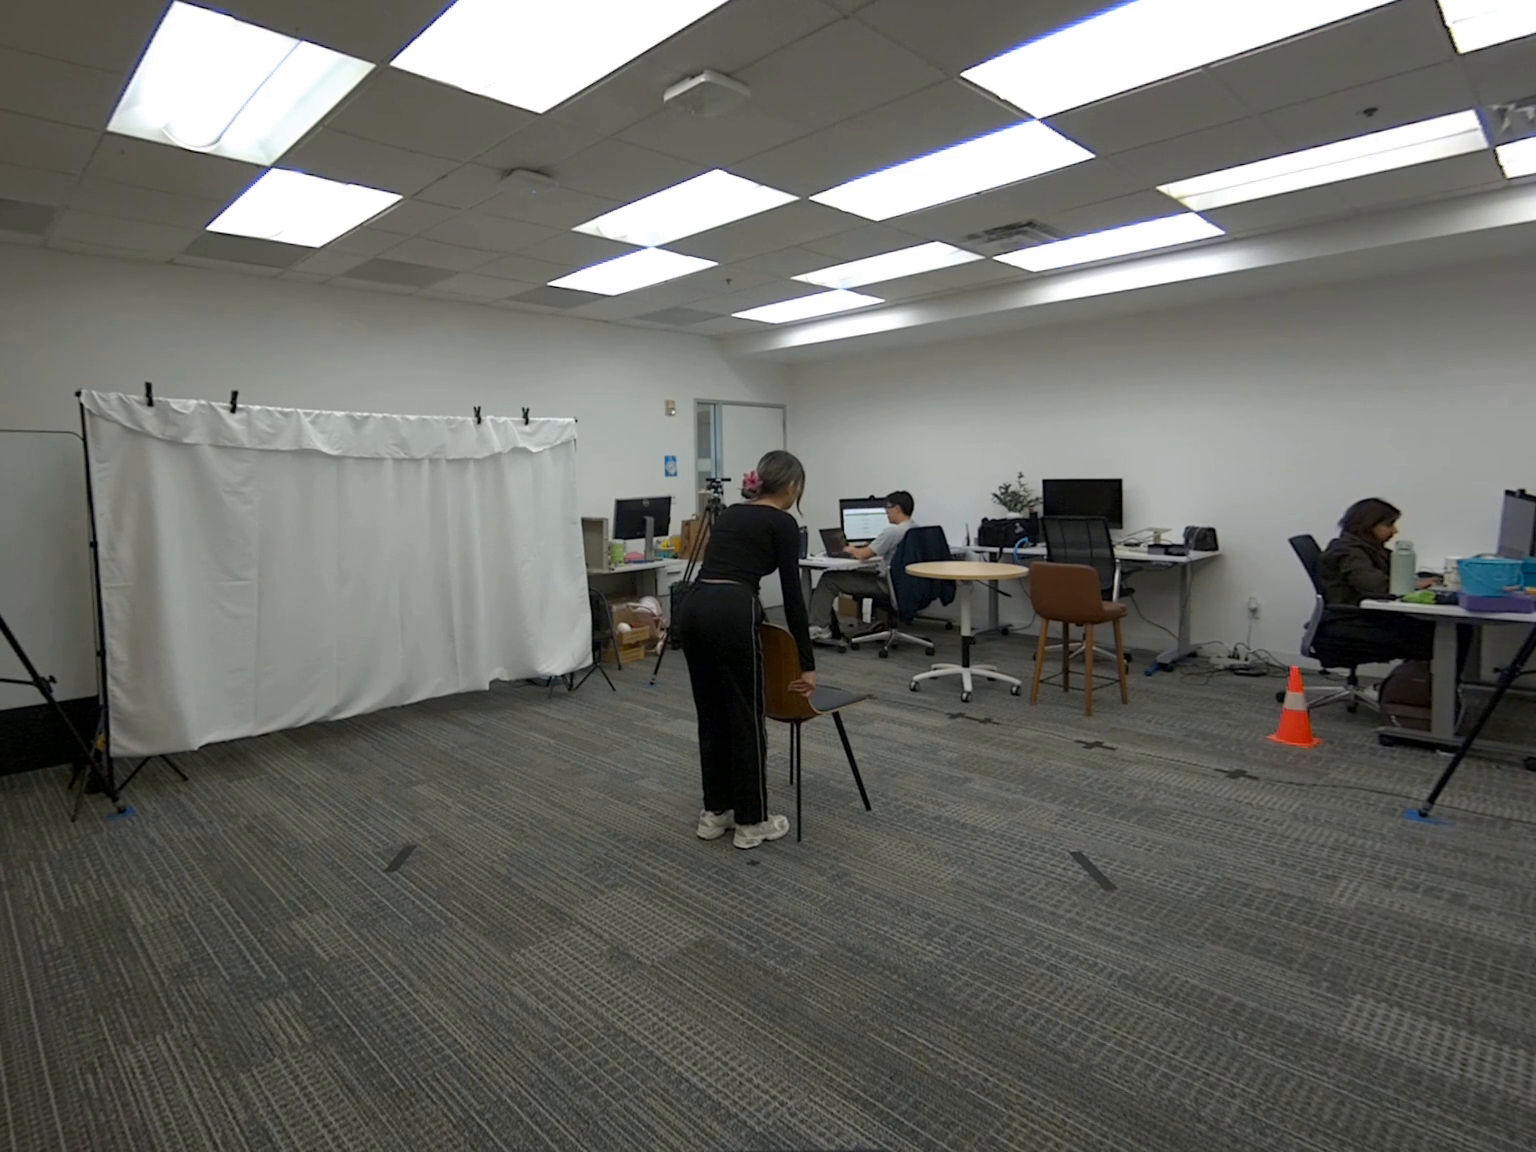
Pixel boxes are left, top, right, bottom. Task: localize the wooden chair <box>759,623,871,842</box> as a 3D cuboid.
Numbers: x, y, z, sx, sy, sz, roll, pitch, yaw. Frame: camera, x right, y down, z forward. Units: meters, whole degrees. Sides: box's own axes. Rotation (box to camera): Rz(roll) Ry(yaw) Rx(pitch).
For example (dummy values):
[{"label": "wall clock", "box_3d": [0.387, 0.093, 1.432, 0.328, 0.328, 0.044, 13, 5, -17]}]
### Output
[{"label": "wooden chair", "box_3d": [0.113, 0.558, 3.565, 0.511, 0.871, 0.493, -12, 10, -44]}]
